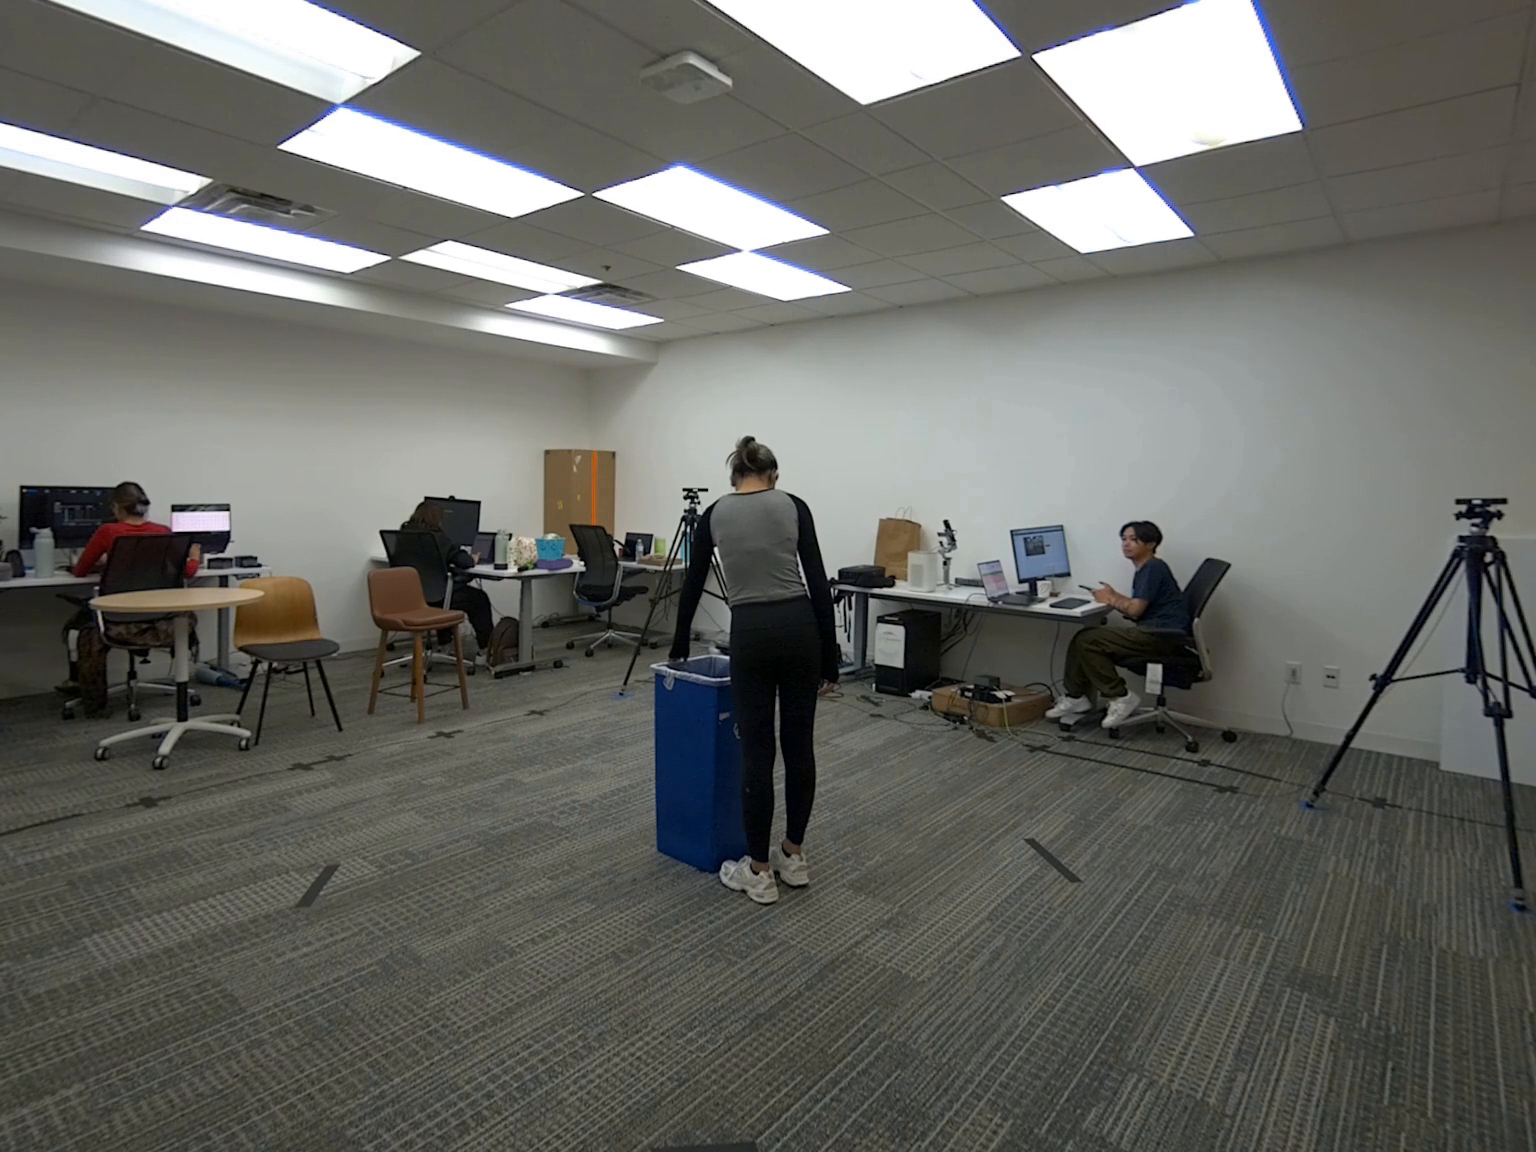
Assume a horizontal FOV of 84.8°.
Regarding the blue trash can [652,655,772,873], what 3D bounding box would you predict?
[{"bbox_3d":[-0.223,0.696,3.269,0.391,0.712,0.363,4,4,40],"label":"blue trash can"}]
